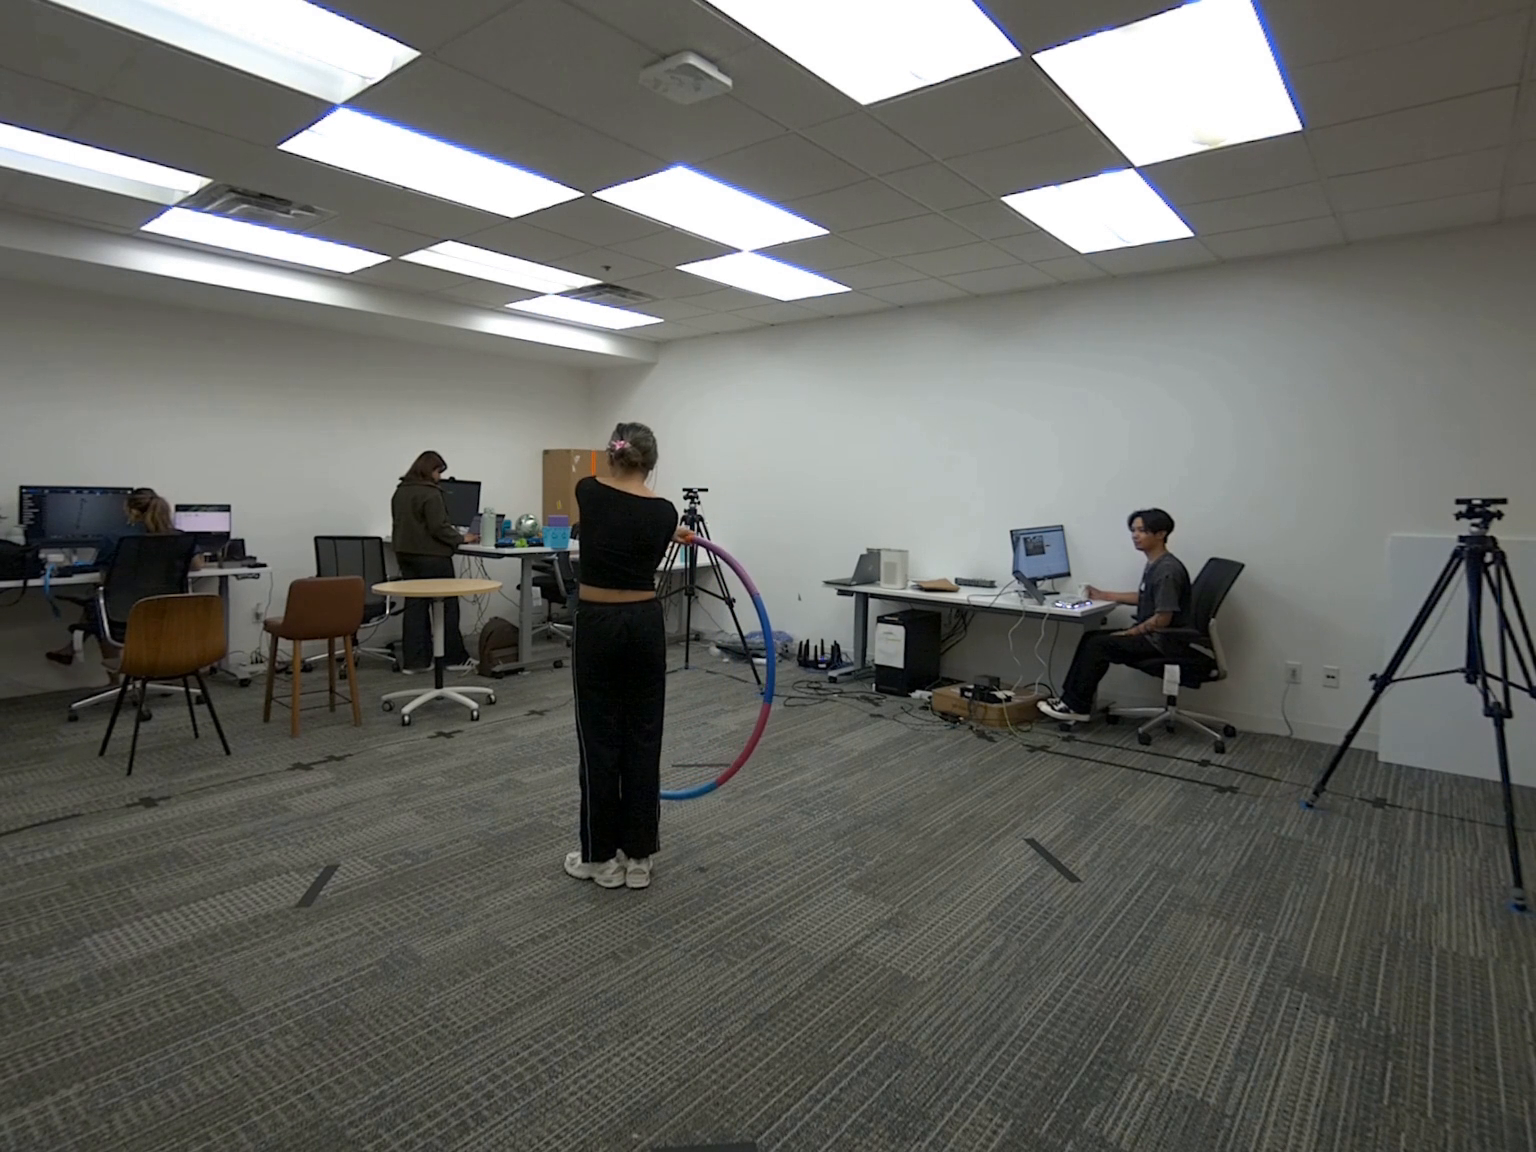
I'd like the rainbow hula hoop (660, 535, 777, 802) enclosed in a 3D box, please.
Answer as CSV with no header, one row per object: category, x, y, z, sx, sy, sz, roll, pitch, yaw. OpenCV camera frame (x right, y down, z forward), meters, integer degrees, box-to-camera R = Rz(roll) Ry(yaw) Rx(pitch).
rainbow hula hoop,-0.401,0.323,3.224,1.010,0.981,0.034,4,-4,35
